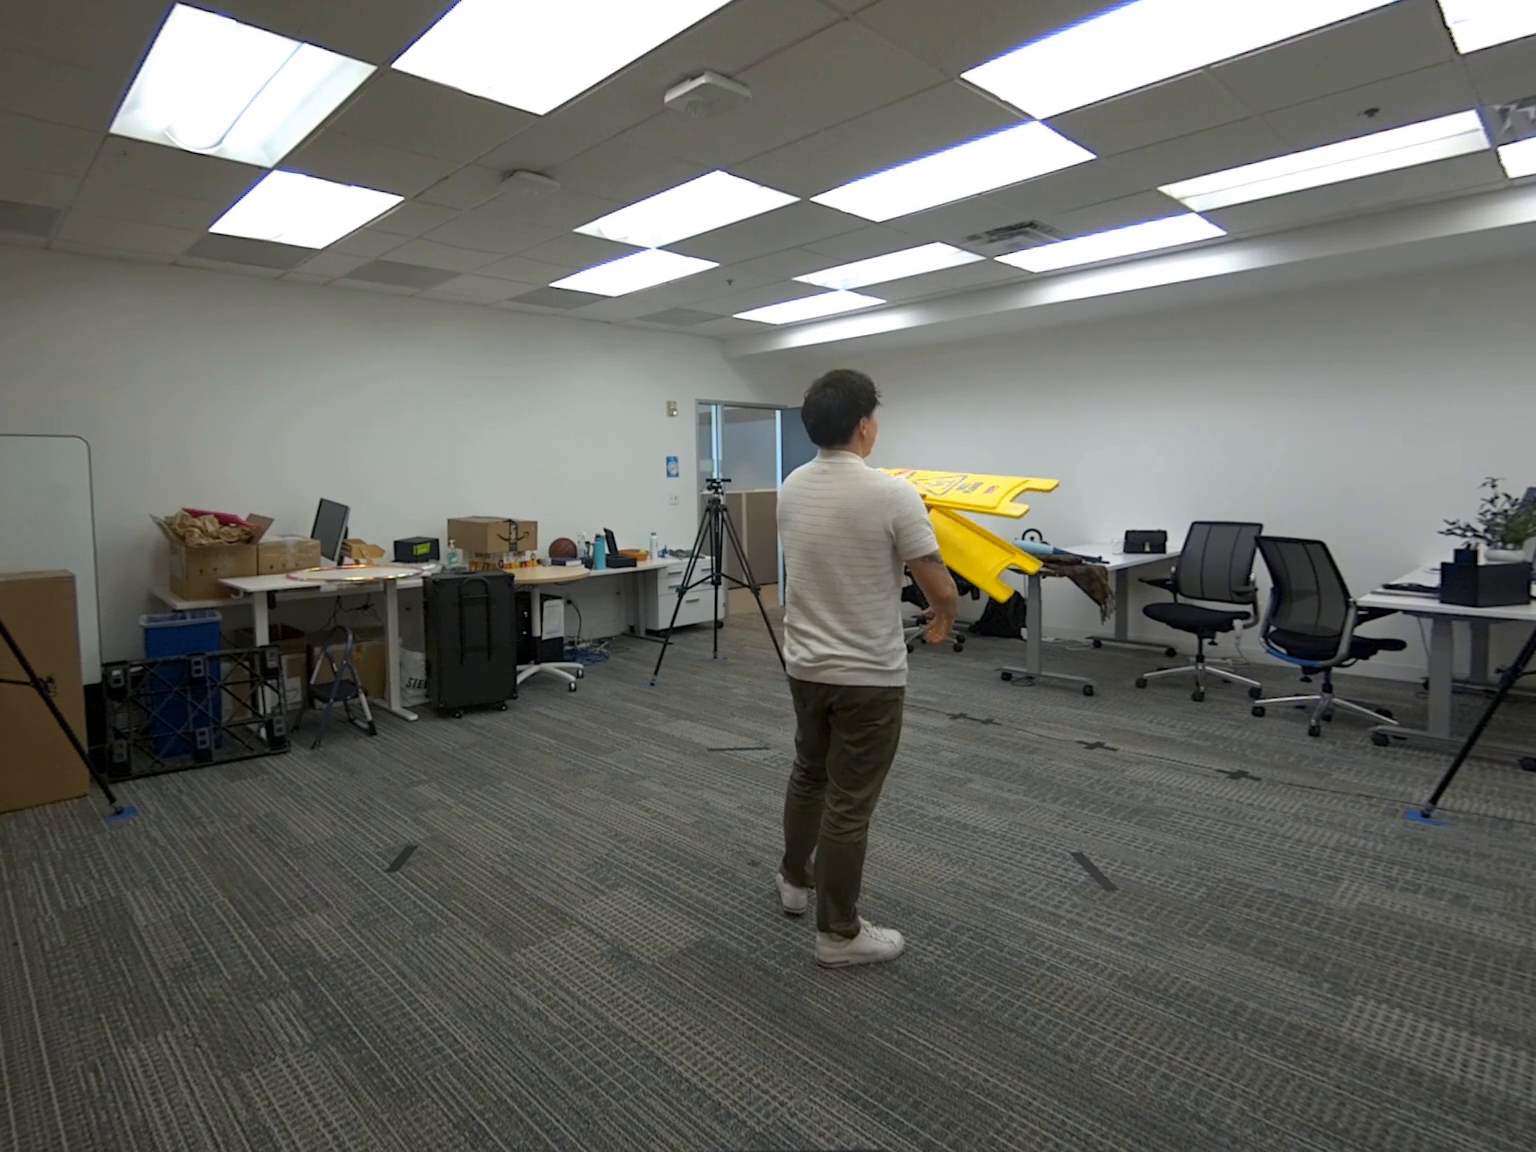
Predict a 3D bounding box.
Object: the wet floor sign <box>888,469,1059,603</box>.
[{"bbox_3d":[0.563,-0.221,2.815,0.670,0.283,0.279,25,40,36],"label":"wet floor sign"}]
